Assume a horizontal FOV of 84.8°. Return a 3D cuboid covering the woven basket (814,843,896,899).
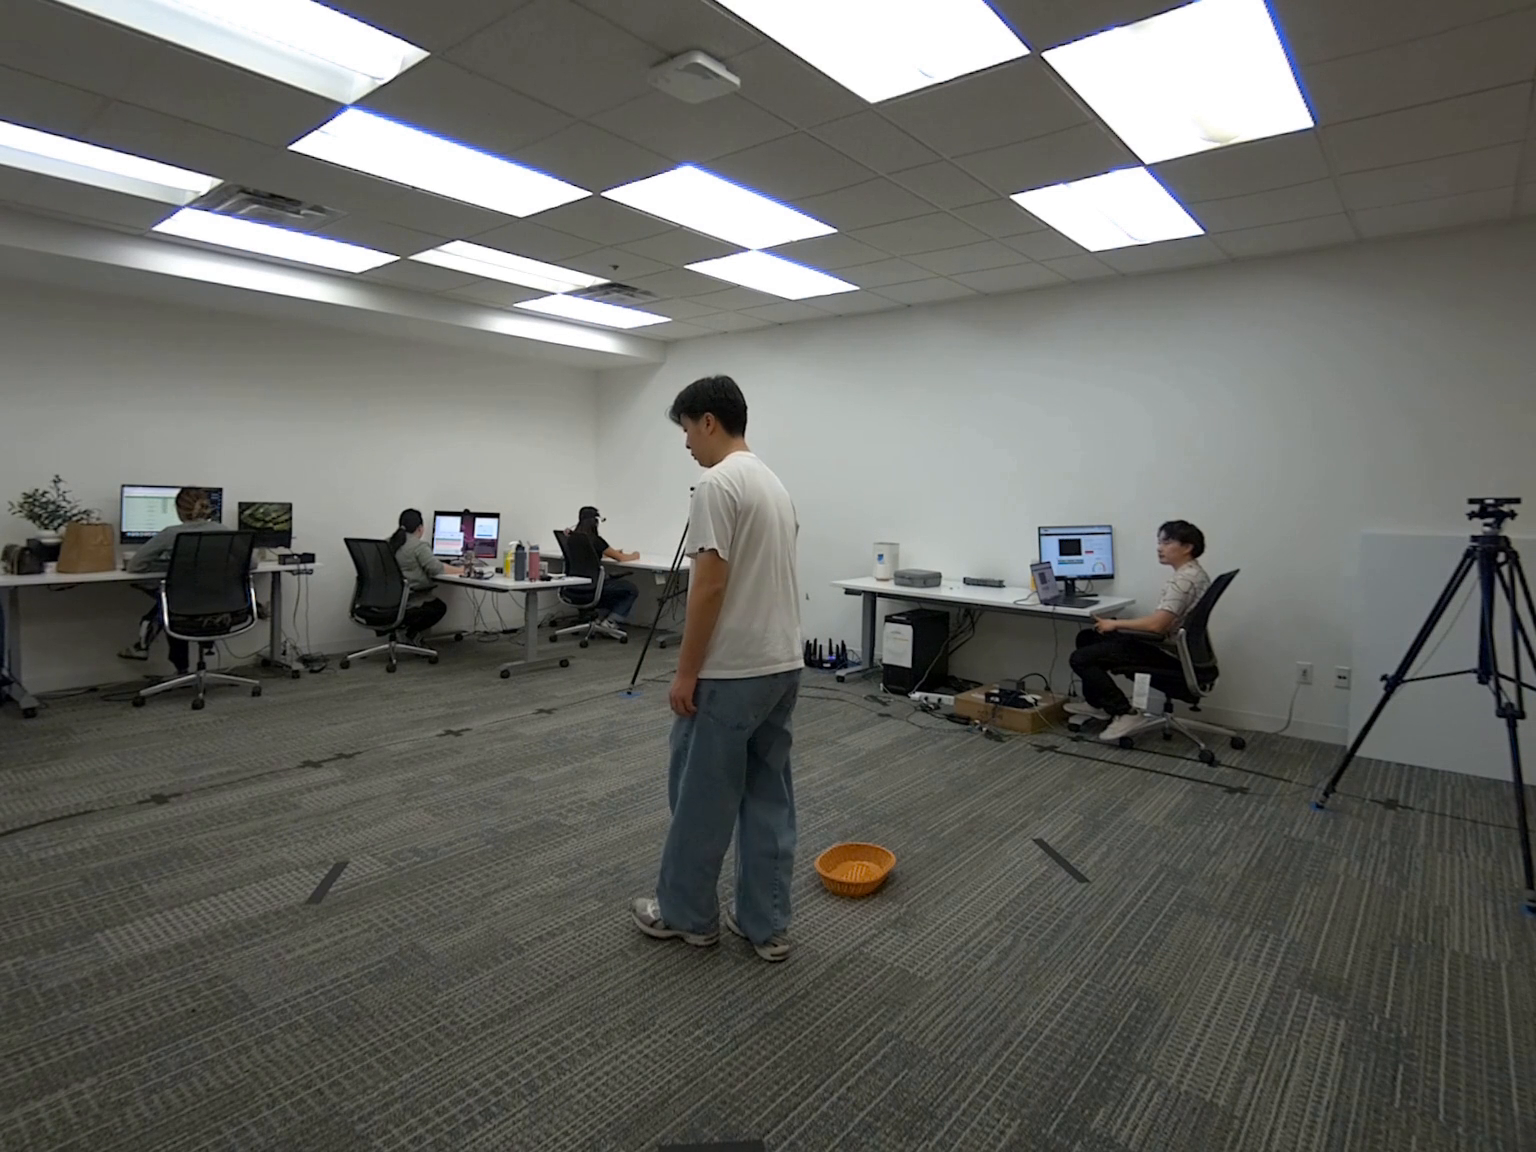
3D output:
[{"bbox_3d":[0.301,1.046,3.046,0.260,0.073,0.341,4,7,33],"label":"woven basket"}]
